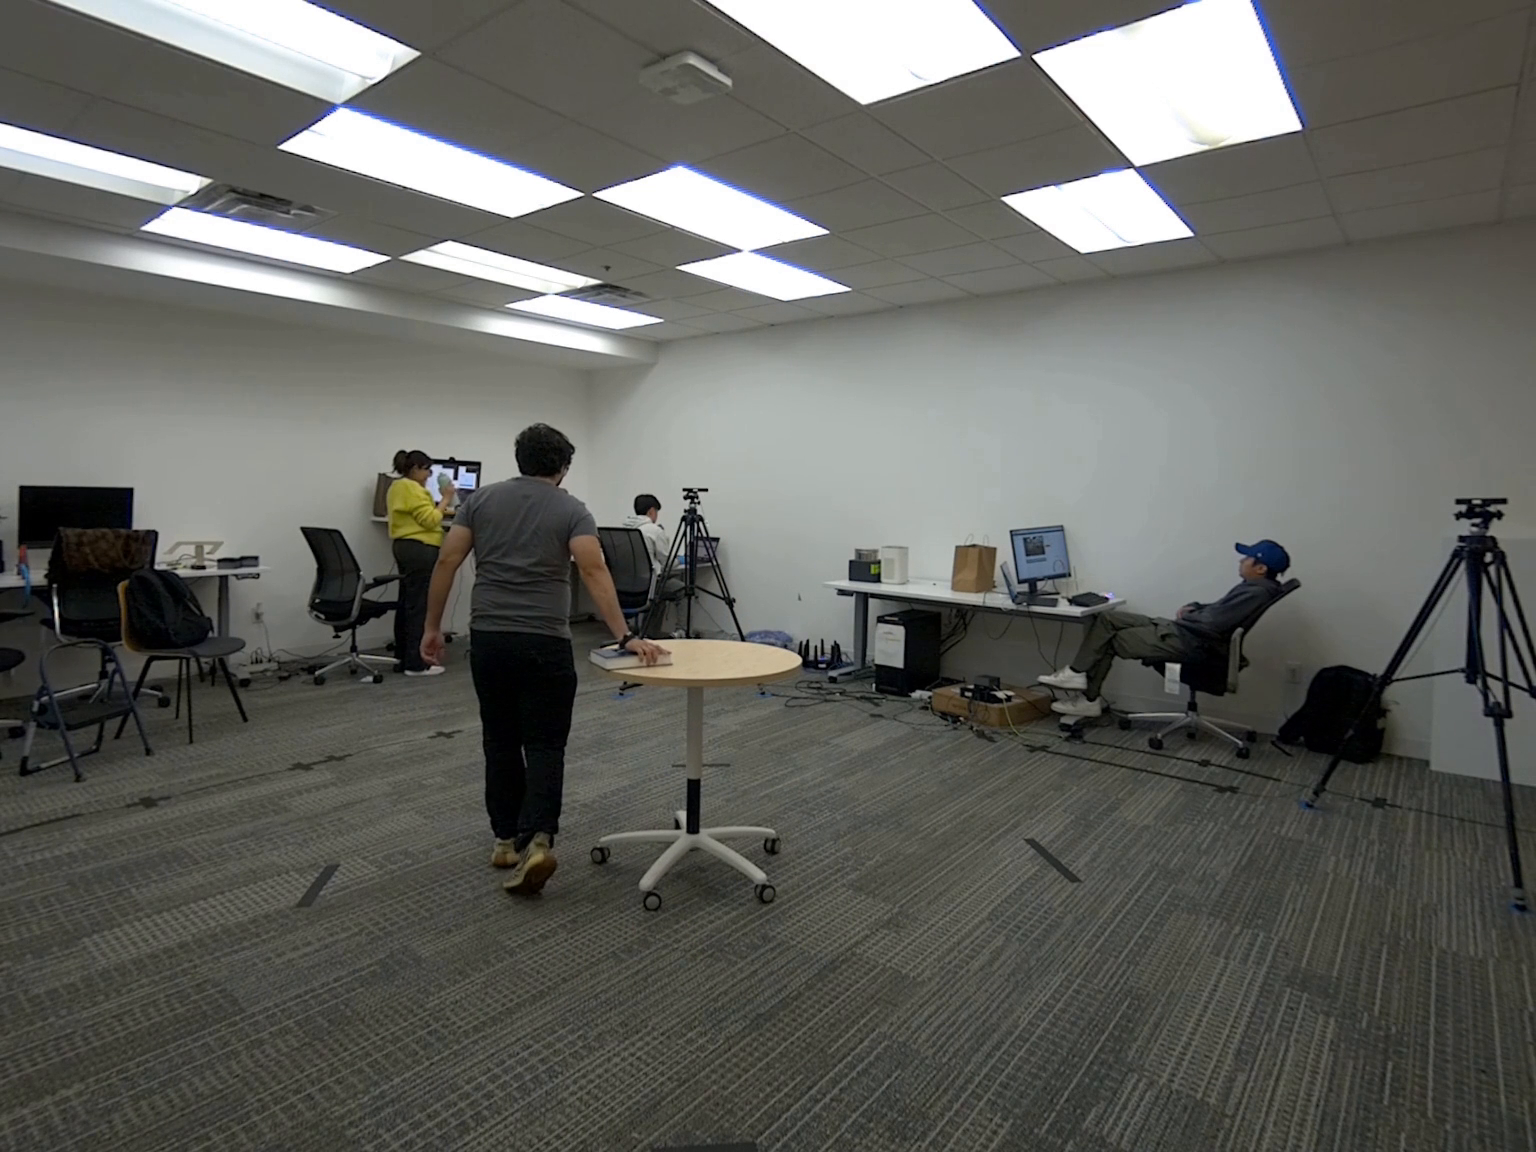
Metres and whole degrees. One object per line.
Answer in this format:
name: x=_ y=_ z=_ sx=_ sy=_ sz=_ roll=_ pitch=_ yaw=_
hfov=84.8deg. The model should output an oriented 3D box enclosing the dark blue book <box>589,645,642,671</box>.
dark blue book: x=-0.479 y=0.278 z=2.933 sx=0.238 sy=0.045 sz=0.168 roll=-2 pitch=6 yaw=-30
